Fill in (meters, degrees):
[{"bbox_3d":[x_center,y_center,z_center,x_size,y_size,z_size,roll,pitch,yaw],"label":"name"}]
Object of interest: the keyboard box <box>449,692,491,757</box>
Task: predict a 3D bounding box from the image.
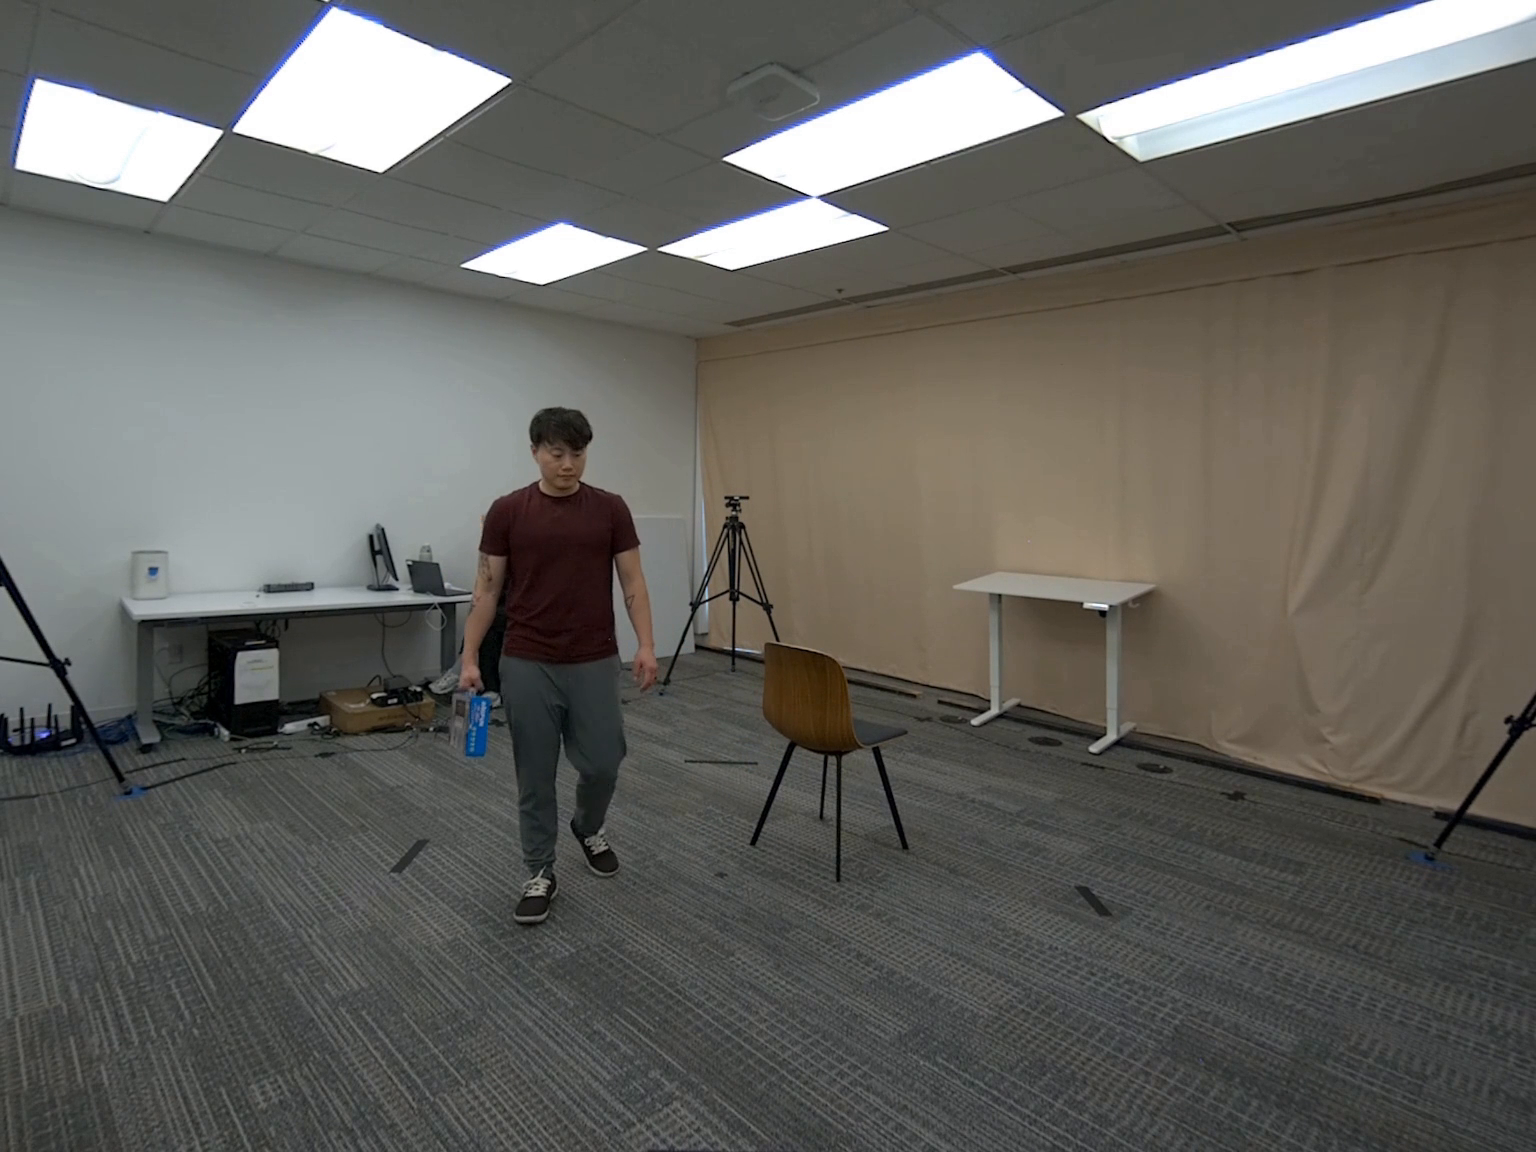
[{"bbox_3d":[-0.960,0.470,2.698,0.058,0.177,0.443,6,-8,-25],"label":"keyboard box"}]
